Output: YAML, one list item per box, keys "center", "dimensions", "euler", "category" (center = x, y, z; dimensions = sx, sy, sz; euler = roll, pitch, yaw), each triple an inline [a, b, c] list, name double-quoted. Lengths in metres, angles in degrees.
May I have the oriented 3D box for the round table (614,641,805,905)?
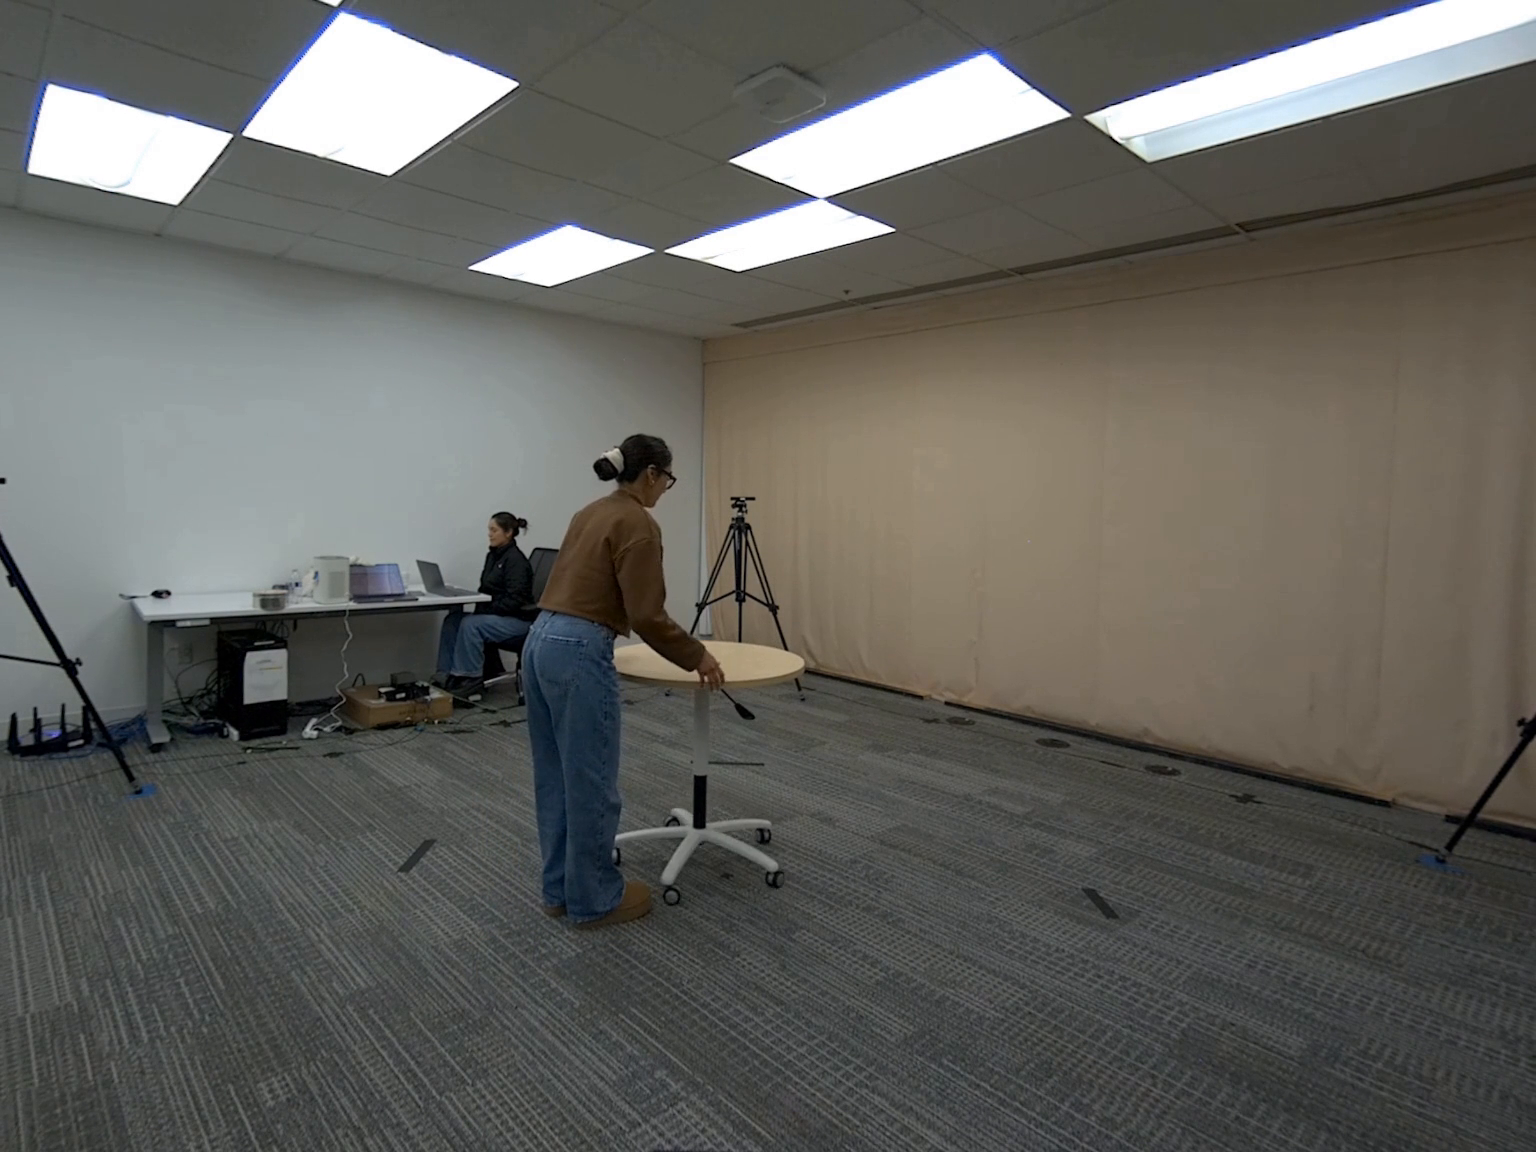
- center: [-0.259, 0.705, 3.190]
  dimensions: [0.763, 0.792, 0.767]
  euler: [1, 4, -1]
  category: "round table"
